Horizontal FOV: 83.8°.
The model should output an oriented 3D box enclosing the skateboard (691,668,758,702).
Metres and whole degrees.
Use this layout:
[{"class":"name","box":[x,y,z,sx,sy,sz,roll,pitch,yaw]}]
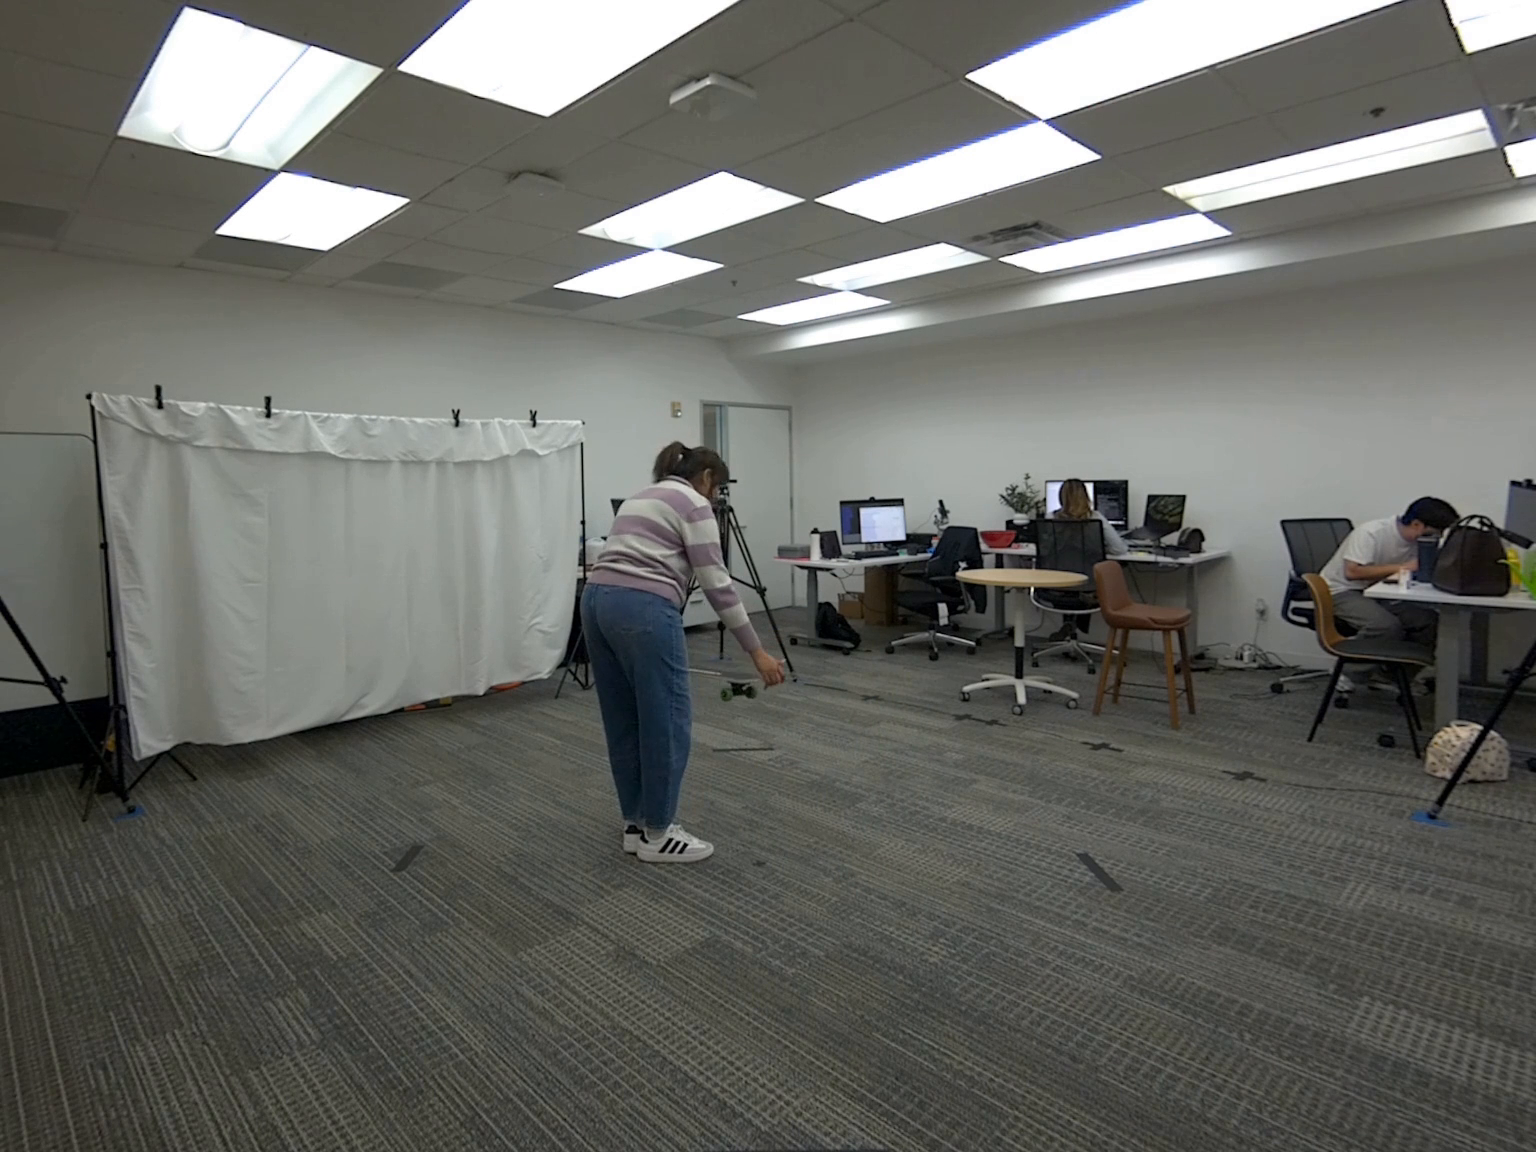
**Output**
[{"class":"skateboard","box":[-0.269,0.417,3.445,0.809,0.110,0.187,3,-2,39]}]
